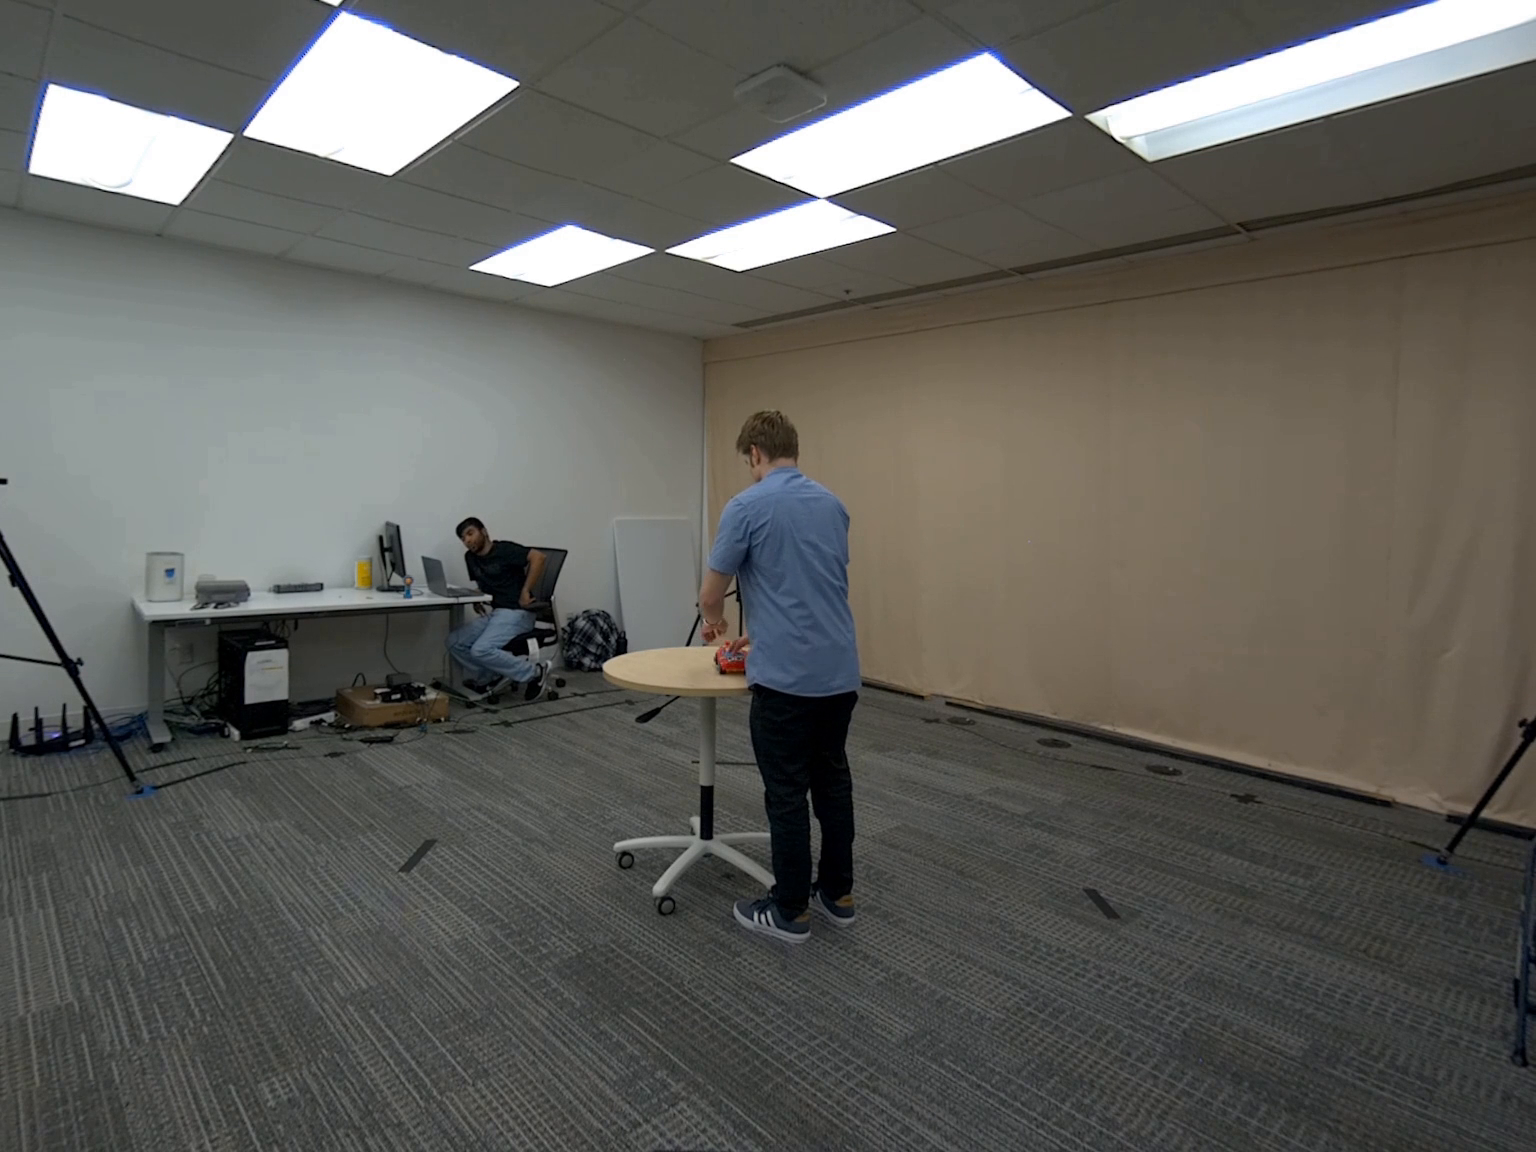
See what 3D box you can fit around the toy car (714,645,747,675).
[{"bbox_3d":[-0.137,0.300,3.024,0.130,0.082,0.258,-1,18,-4],"label":"toy car"}]
